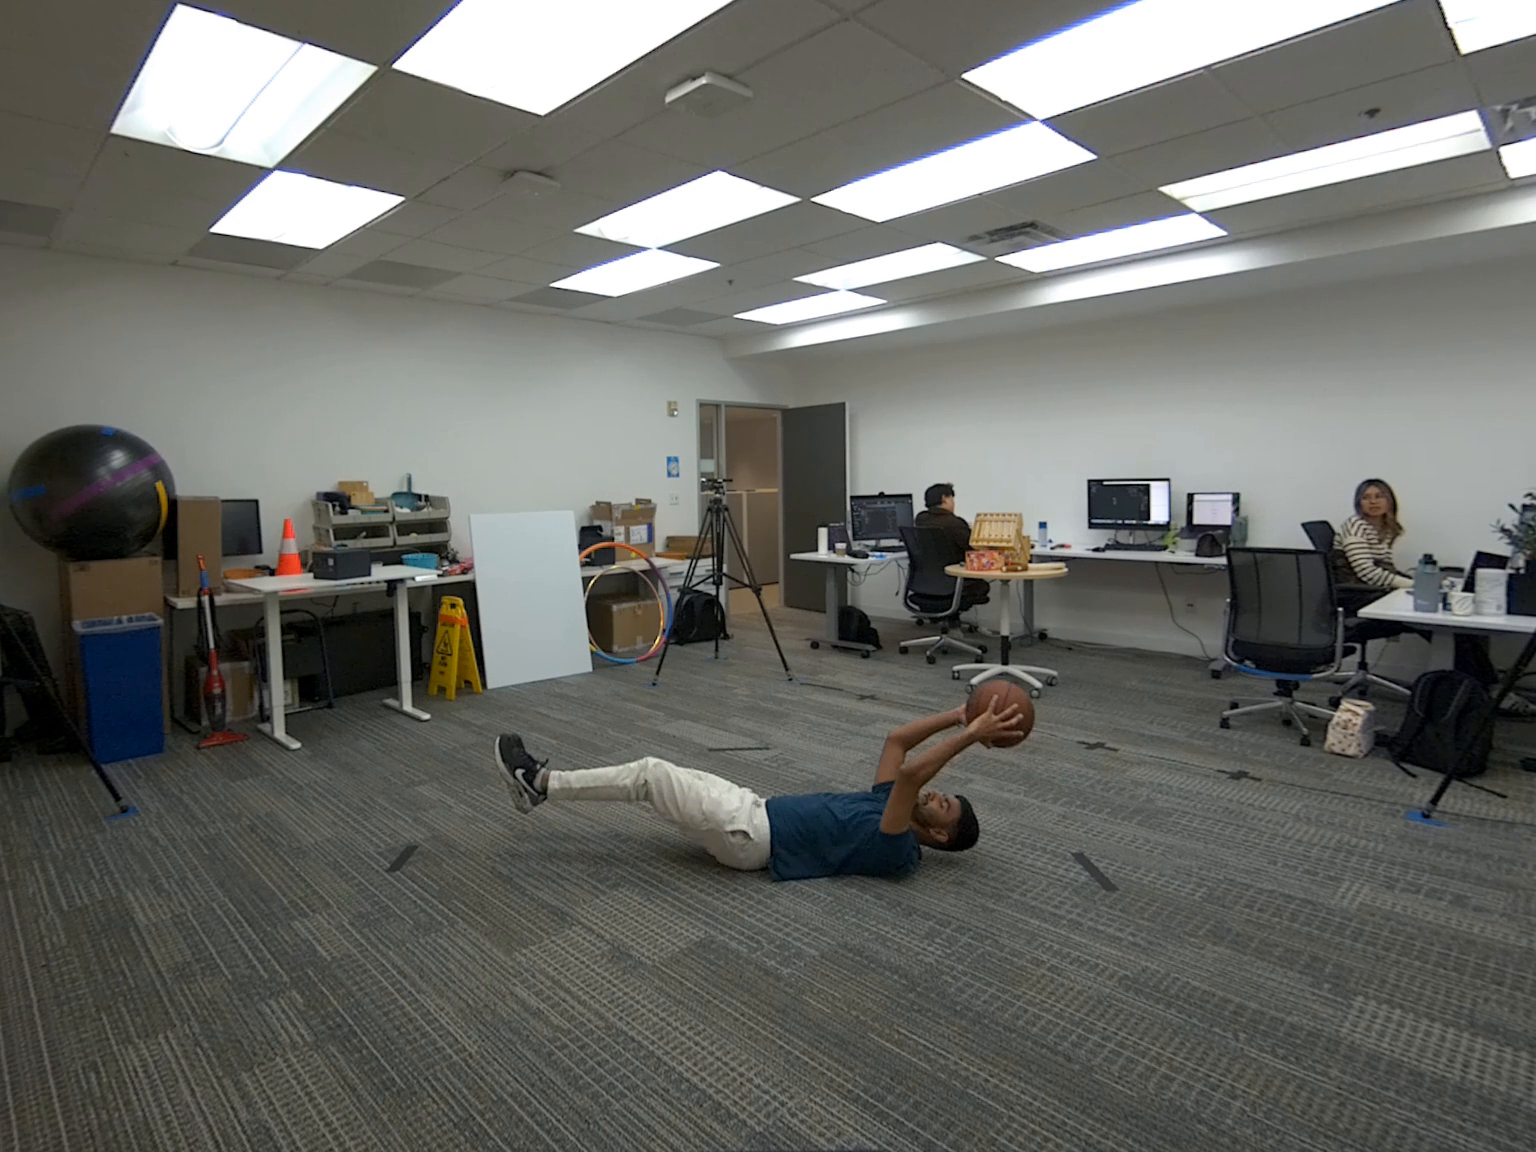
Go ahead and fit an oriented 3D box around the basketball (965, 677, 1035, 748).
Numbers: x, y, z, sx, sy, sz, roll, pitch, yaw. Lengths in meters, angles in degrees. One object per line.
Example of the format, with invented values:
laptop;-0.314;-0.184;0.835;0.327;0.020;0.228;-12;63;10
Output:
basketball;0.827;0.491;3.066;0.236;0.235;0.237;-1;5;-2
